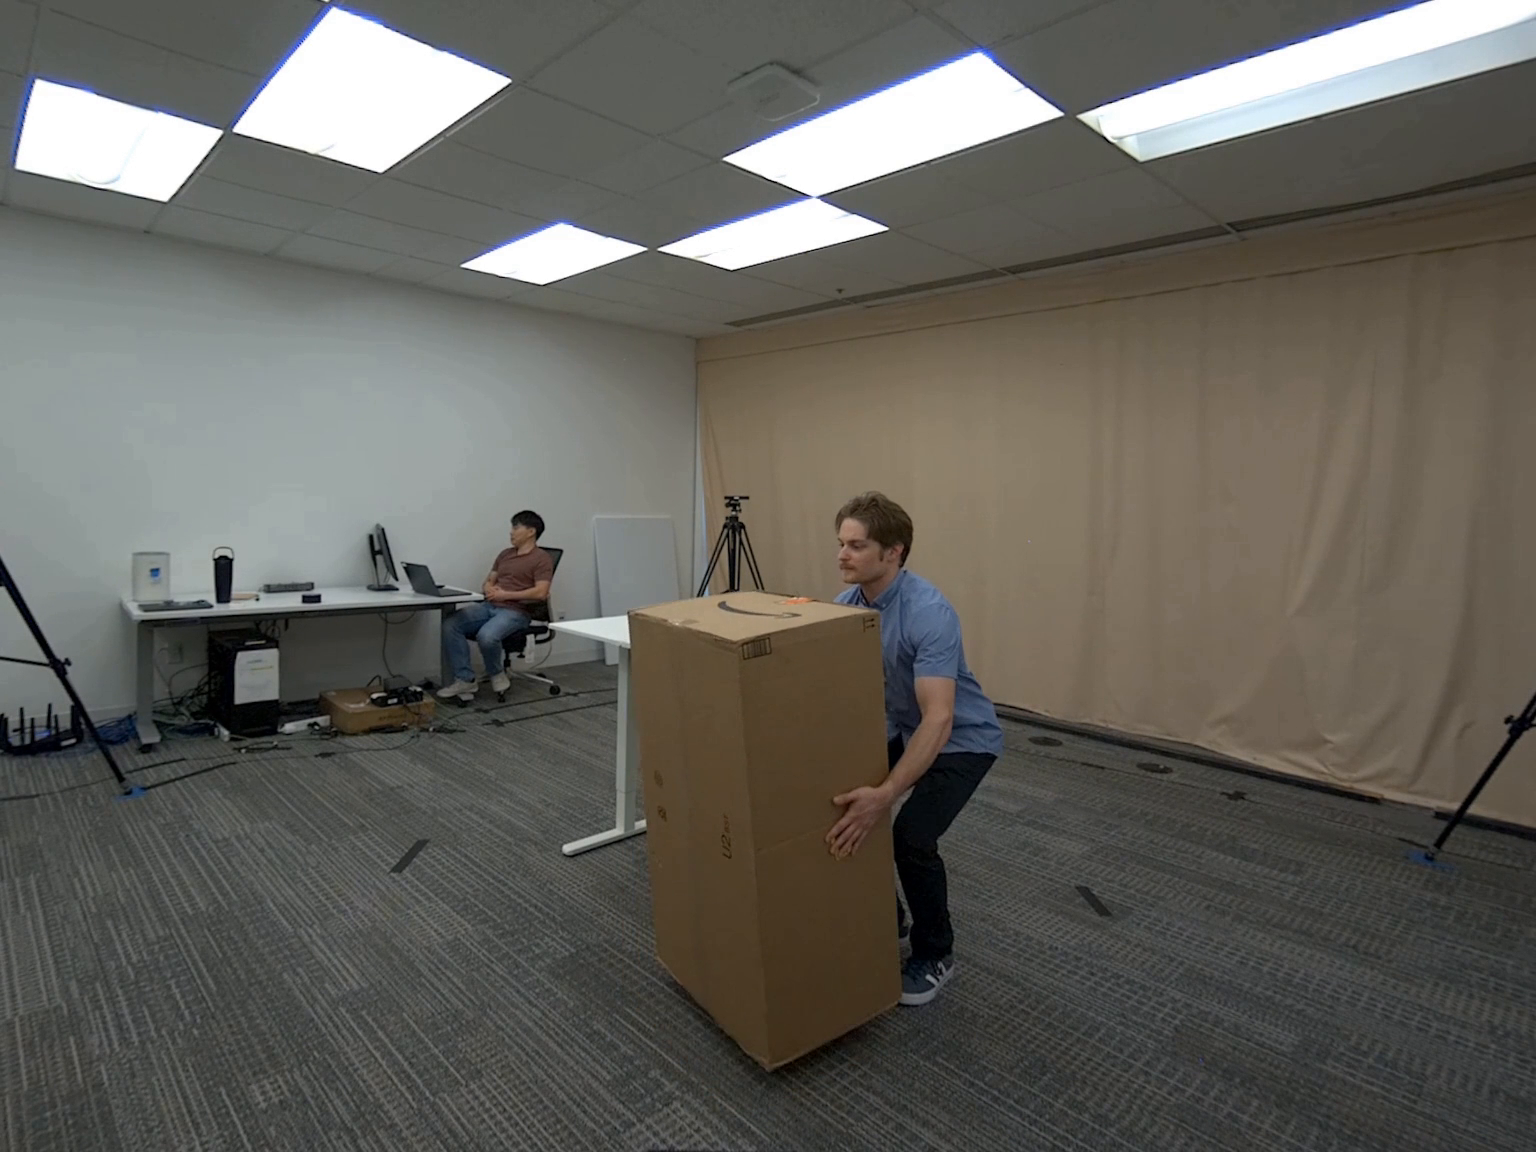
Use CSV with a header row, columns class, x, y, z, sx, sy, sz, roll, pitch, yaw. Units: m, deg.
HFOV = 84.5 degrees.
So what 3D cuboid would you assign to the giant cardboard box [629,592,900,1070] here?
class,x,y,z,sx,sy,sz,roll,pitch,yaw
giant cardboard box,-0.030,0.596,2.233,0.418,1.021,0.591,-8,7,-34
